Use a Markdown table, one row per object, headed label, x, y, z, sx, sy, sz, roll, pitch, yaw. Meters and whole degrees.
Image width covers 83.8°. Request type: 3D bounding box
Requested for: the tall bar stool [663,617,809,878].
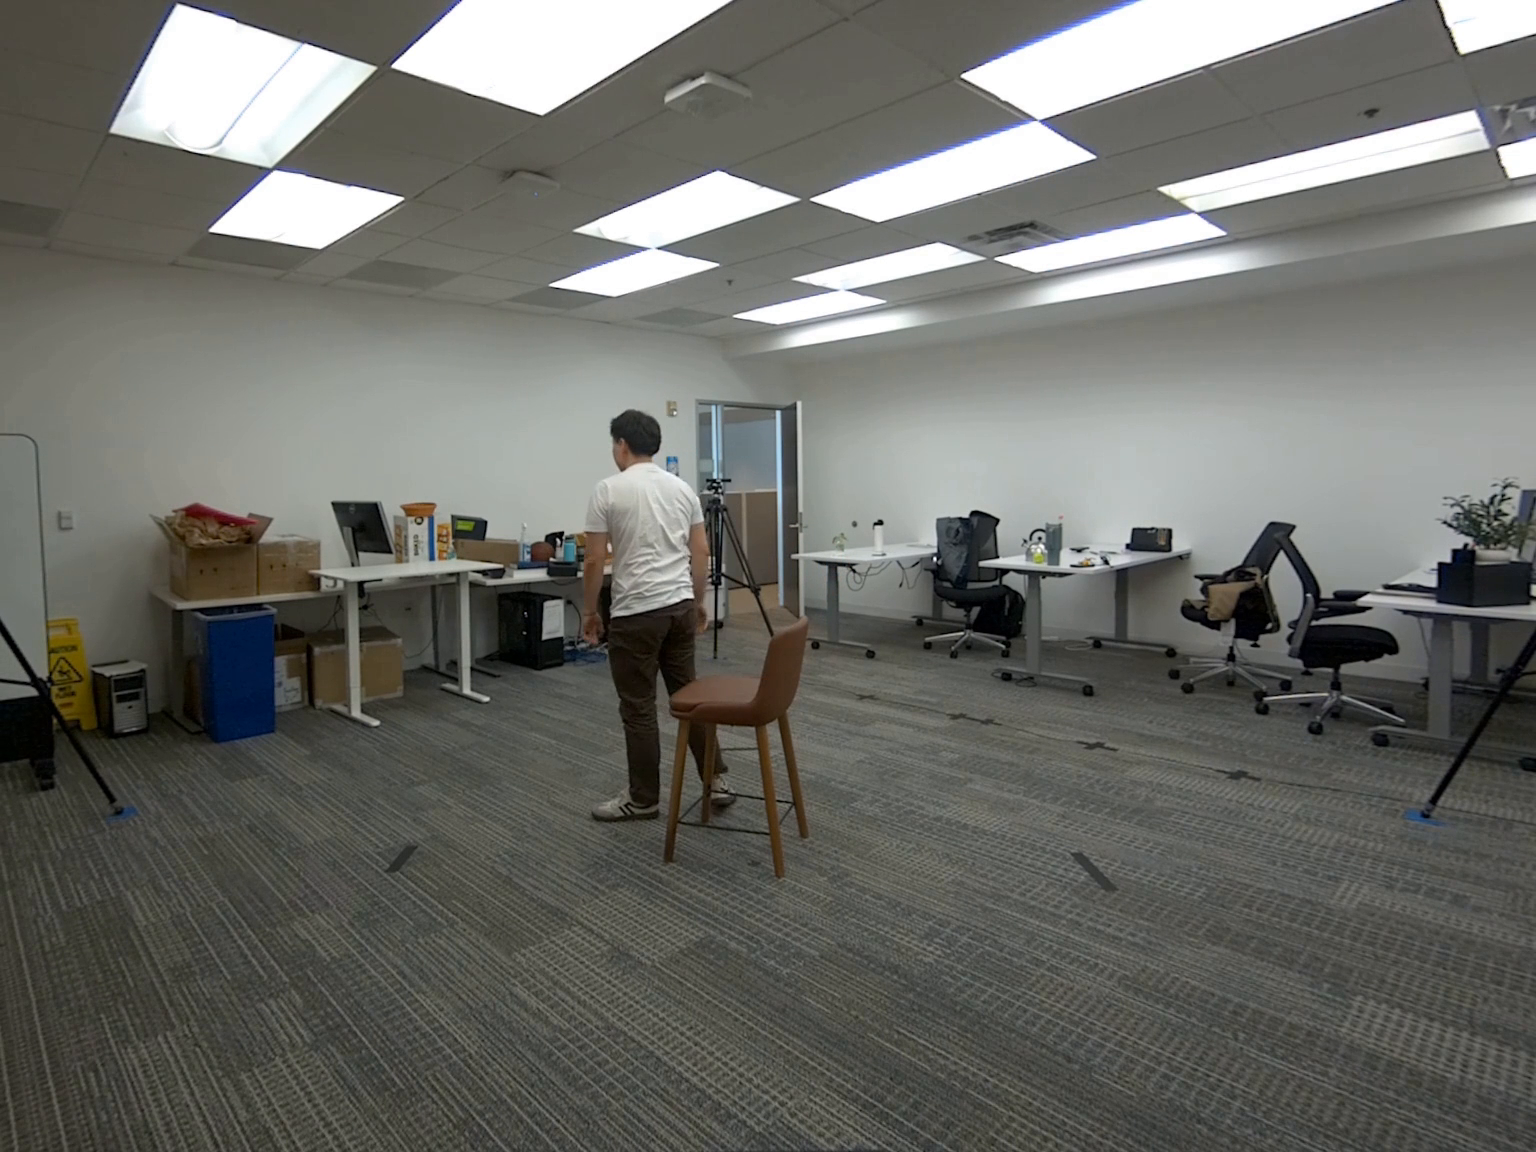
| label | x | y | z | sx | sy | sz | roll | pitch | yaw |
| --- | --- | --- | --- | --- | --- | --- | --- | --- | --- |
| tall bar stool | -0.108 | 0.601 | 3.211 | 0.477 | 0.886 | 0.449 | 2 | 4 | 20 |
